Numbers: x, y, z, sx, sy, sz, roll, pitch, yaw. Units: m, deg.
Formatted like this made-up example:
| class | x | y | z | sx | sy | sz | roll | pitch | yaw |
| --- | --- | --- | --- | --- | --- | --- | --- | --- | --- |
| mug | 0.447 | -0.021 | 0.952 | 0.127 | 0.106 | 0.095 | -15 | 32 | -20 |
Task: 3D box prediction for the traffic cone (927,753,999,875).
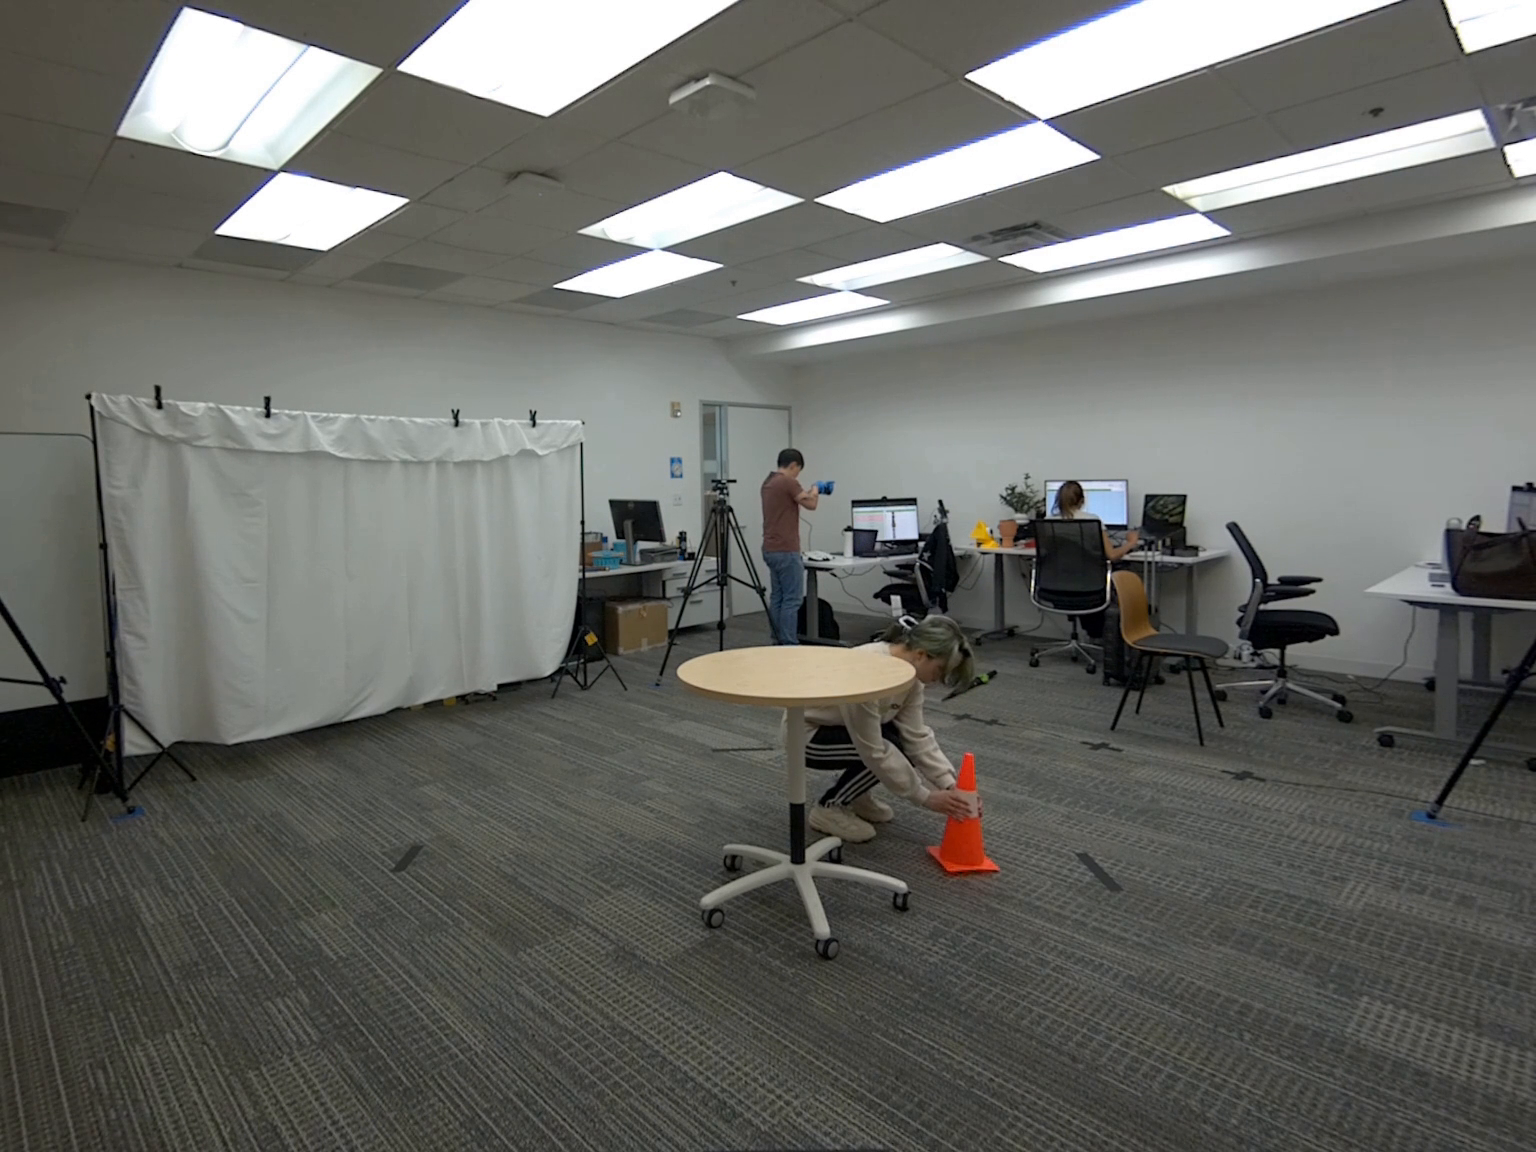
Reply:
| class | x | y | z | sx | sy | sz | roll | pitch | yaw |
| --- | --- | --- | --- | --- | --- | --- | --- | --- | --- |
| traffic cone | 0.705 | 0.835 | 3.077 | 0.201 | 0.383 | 0.207 | -2 | 3 | -11 |
